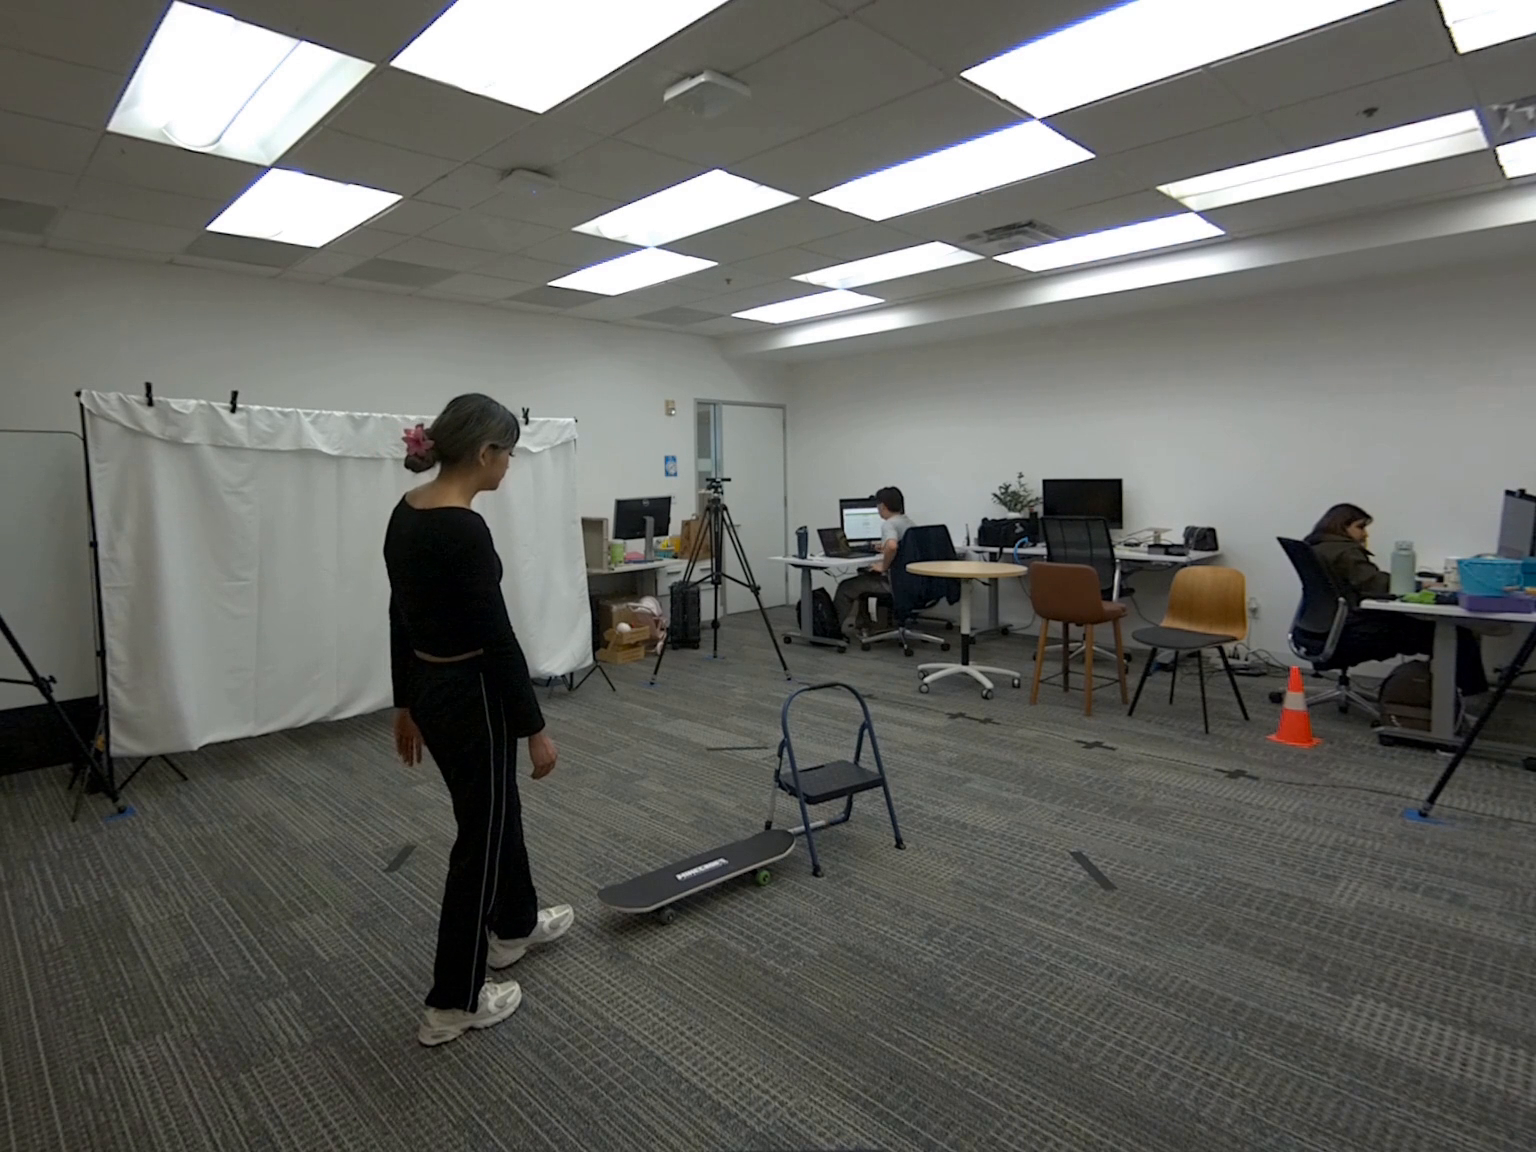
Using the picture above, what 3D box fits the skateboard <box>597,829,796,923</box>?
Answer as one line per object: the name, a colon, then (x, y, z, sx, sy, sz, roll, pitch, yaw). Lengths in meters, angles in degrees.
skateboard: (-0.217, 1.017, 2.869, 0.765, 0.110, 0.199, -6, 7, -40)
